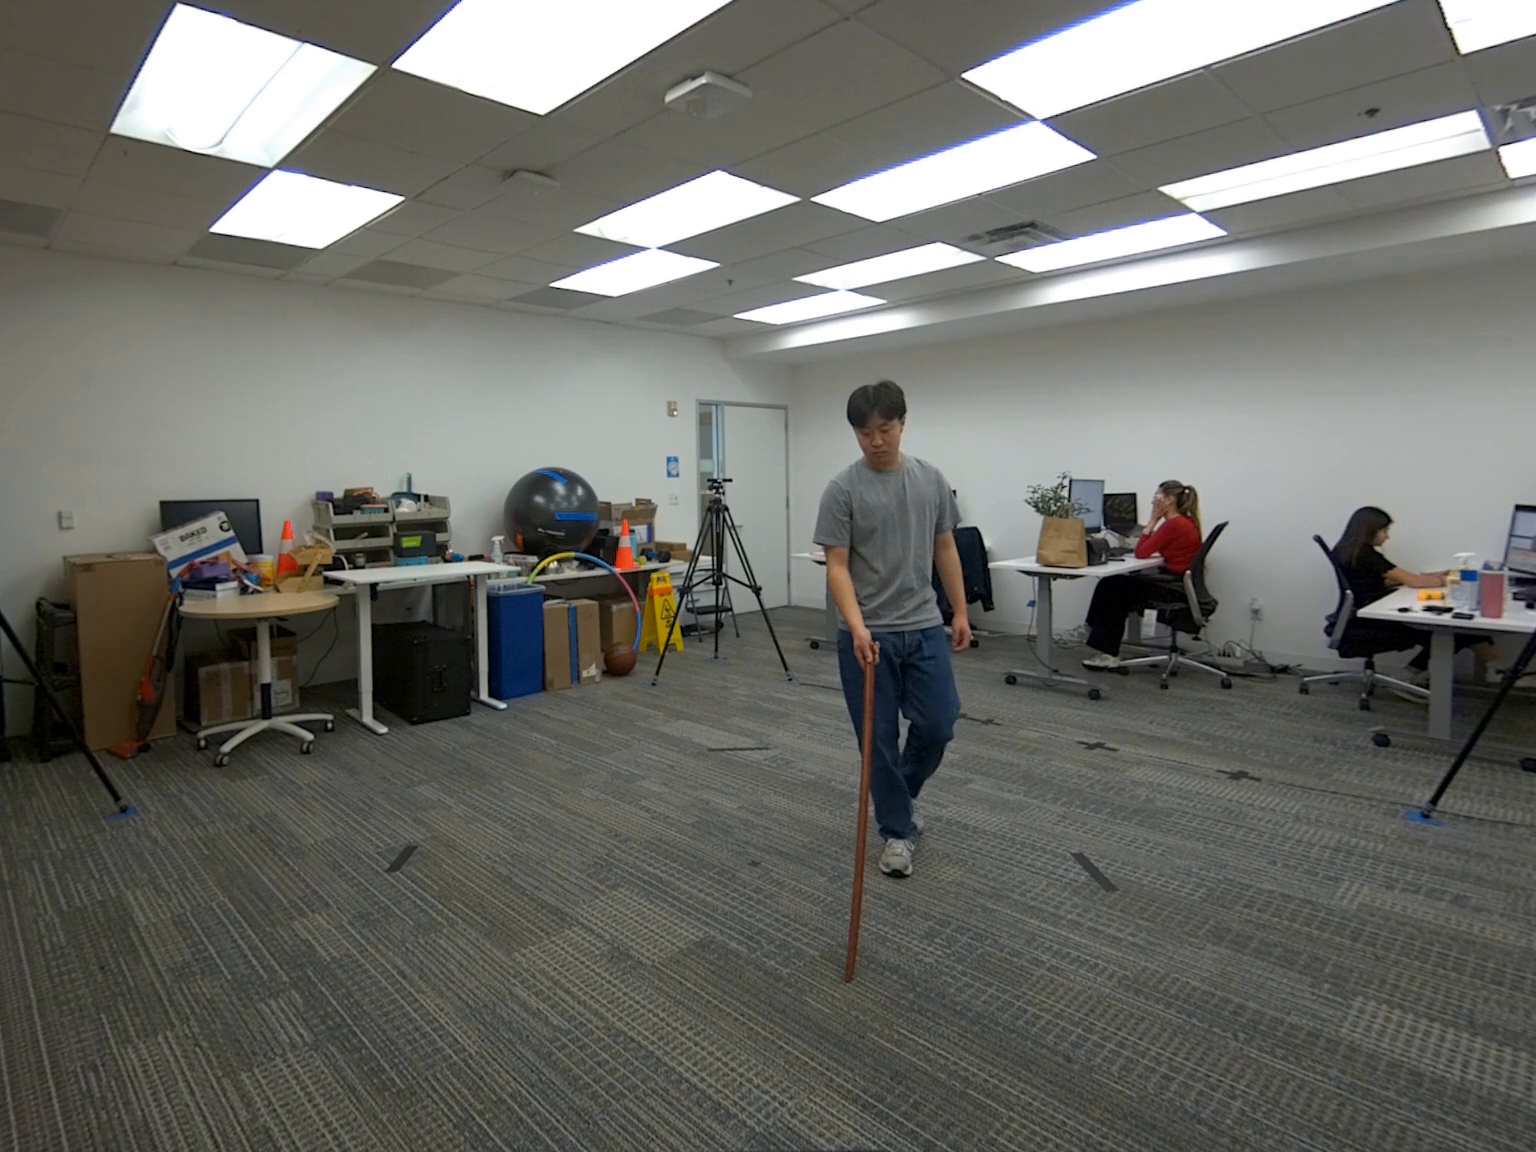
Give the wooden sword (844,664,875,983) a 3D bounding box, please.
[{"bbox_3d":[0.305,0.688,2.614,0.024,1.043,0.050,3,-28,10],"label":"wooden sword"}]
